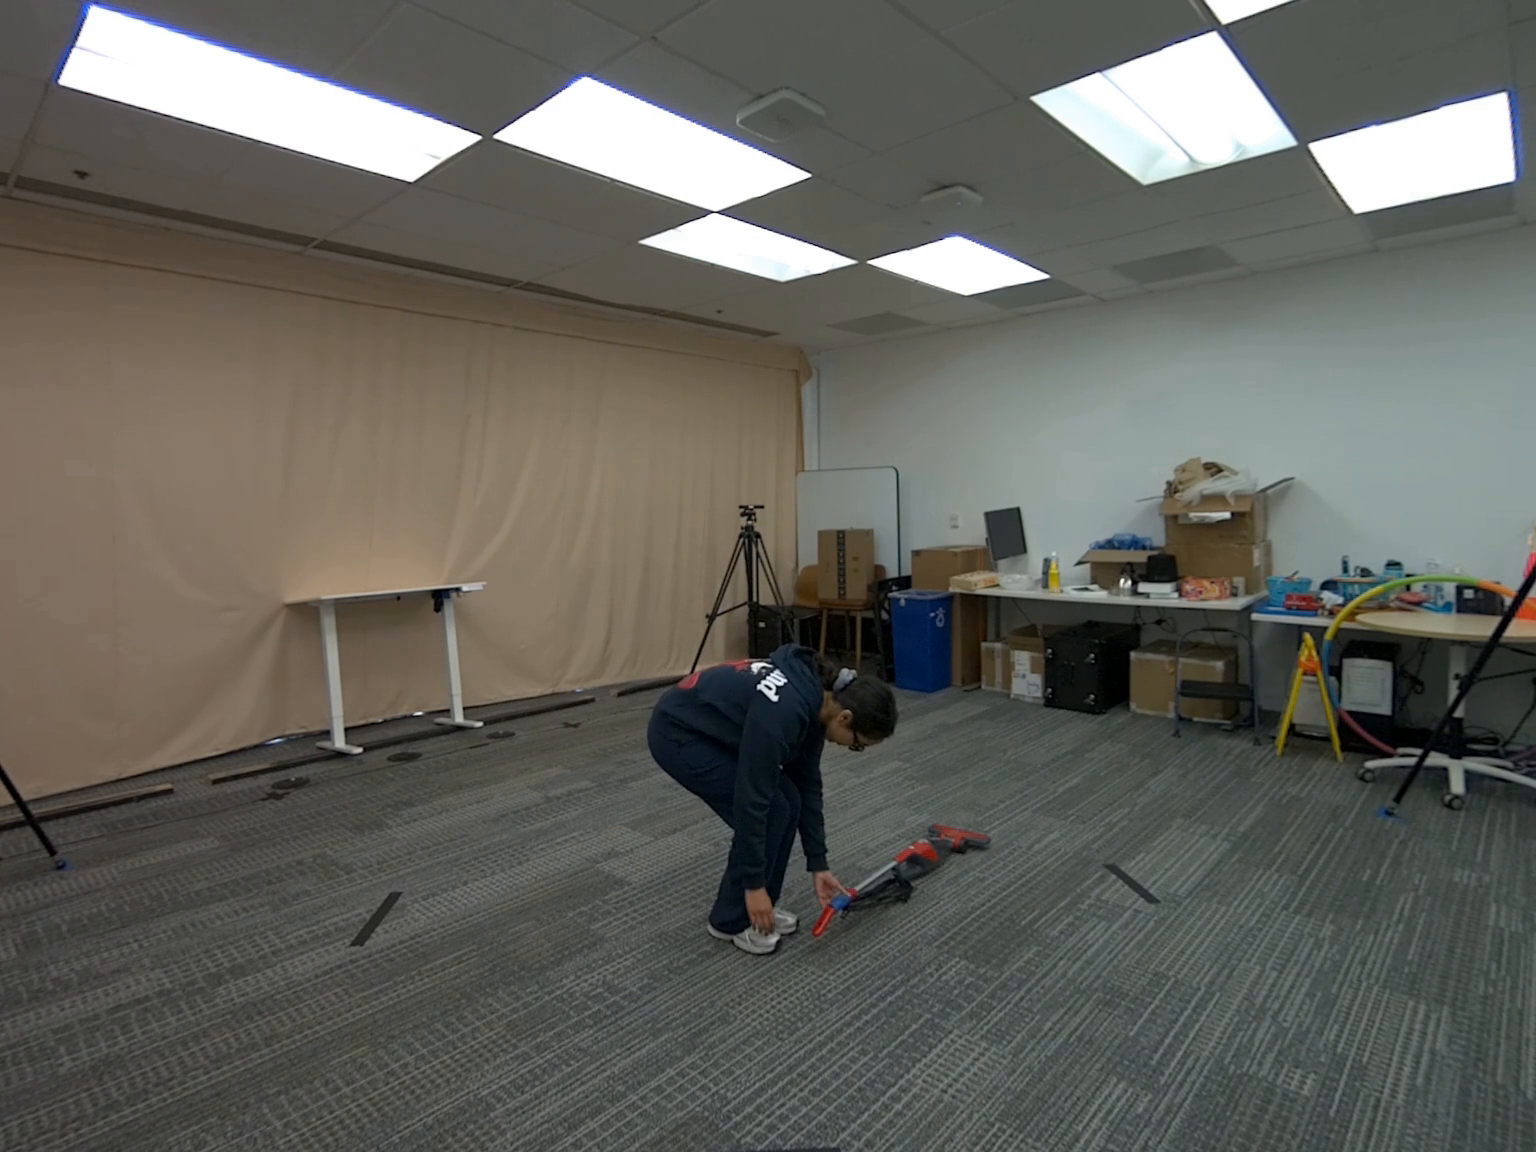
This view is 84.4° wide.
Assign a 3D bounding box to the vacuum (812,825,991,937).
[{"bbox_3d":[0.466,1.078,3.009,0.261,0.143,1.018,5,6,35],"label":"vacuum"}]
